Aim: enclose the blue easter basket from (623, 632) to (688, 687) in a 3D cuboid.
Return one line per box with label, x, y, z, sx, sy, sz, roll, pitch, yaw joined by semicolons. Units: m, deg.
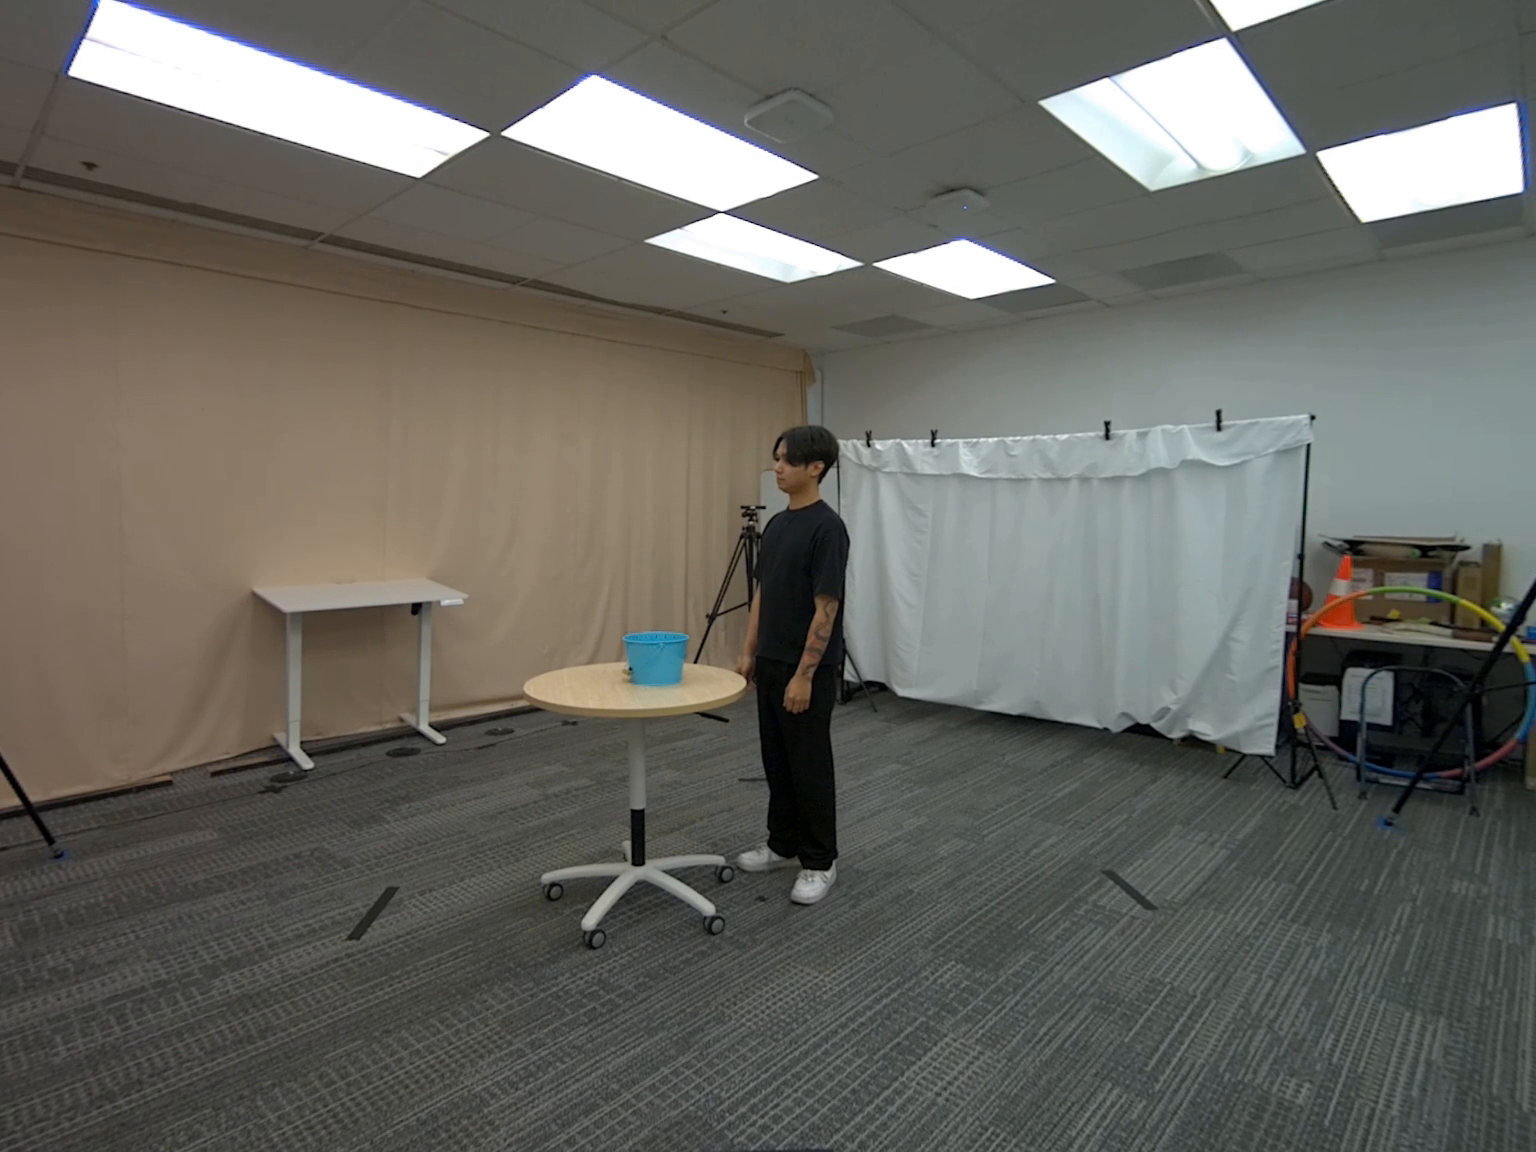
blue easter basket;-0.384;0.295;2.945;0.243;0.155;0.245;0;7;-2
